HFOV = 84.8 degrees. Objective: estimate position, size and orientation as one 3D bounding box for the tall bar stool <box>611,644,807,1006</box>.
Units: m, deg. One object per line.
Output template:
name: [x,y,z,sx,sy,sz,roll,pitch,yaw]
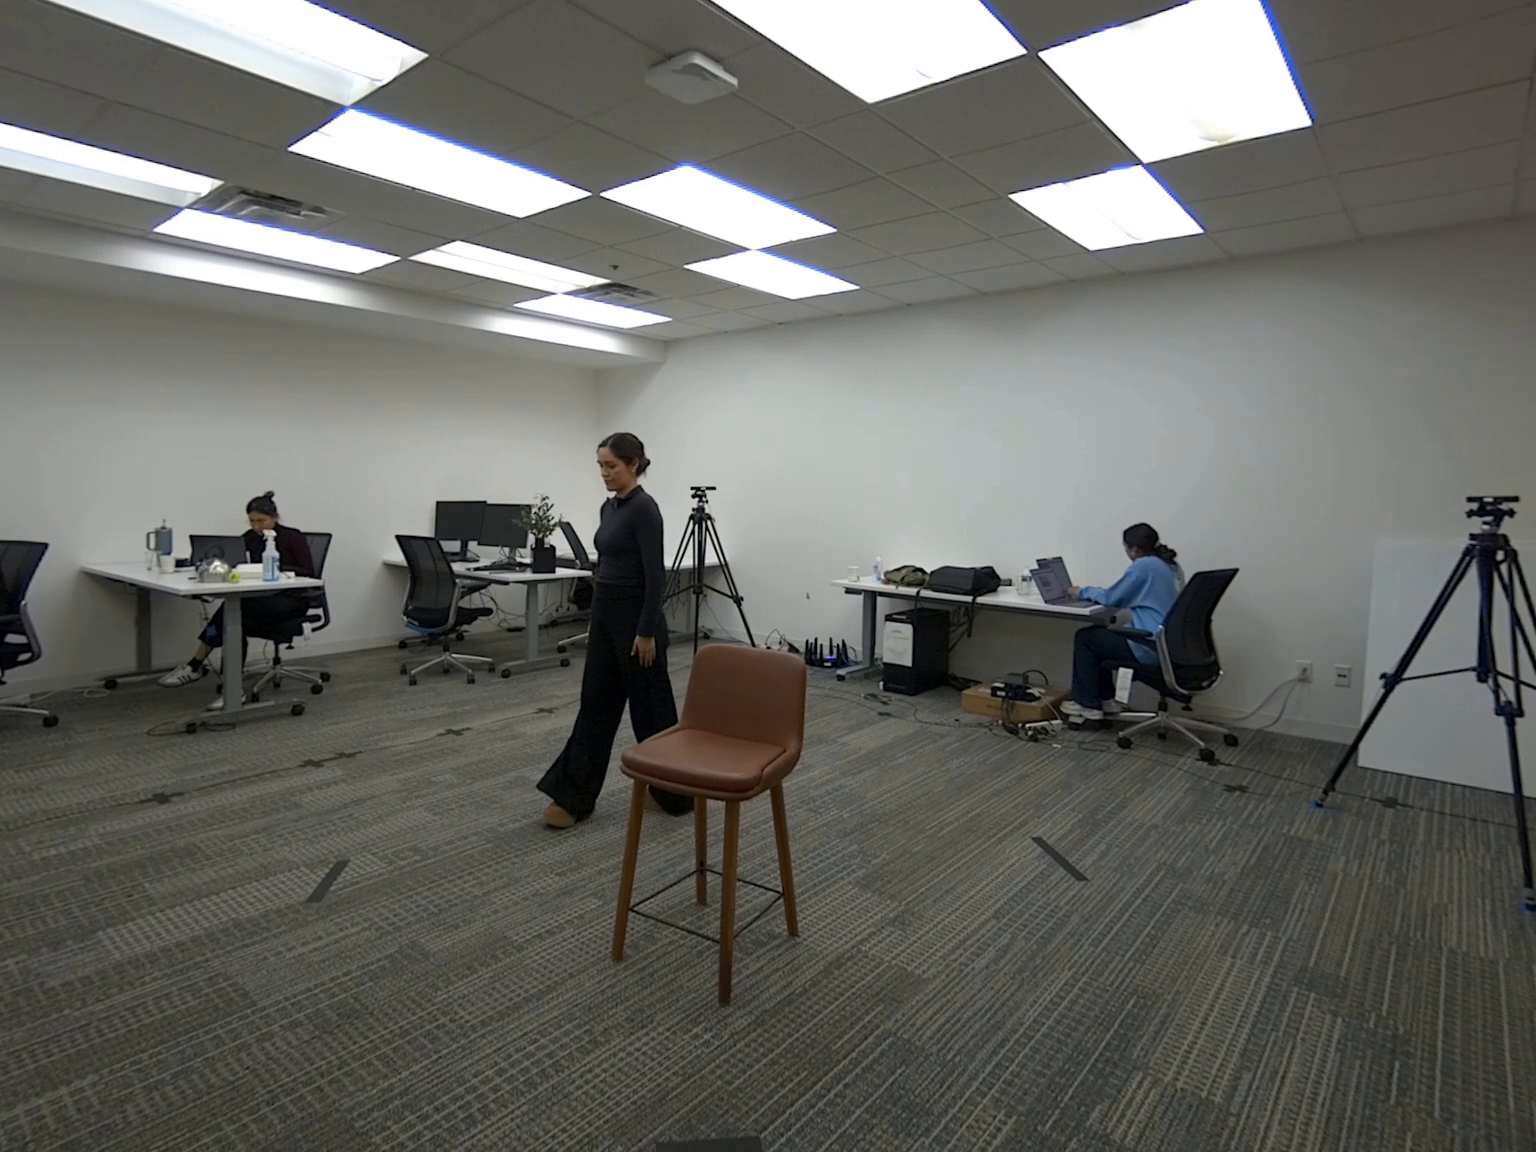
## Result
tall bar stool: [-0.172,0.689,2.550,0.470,0.888,0.454,3,3,32]
